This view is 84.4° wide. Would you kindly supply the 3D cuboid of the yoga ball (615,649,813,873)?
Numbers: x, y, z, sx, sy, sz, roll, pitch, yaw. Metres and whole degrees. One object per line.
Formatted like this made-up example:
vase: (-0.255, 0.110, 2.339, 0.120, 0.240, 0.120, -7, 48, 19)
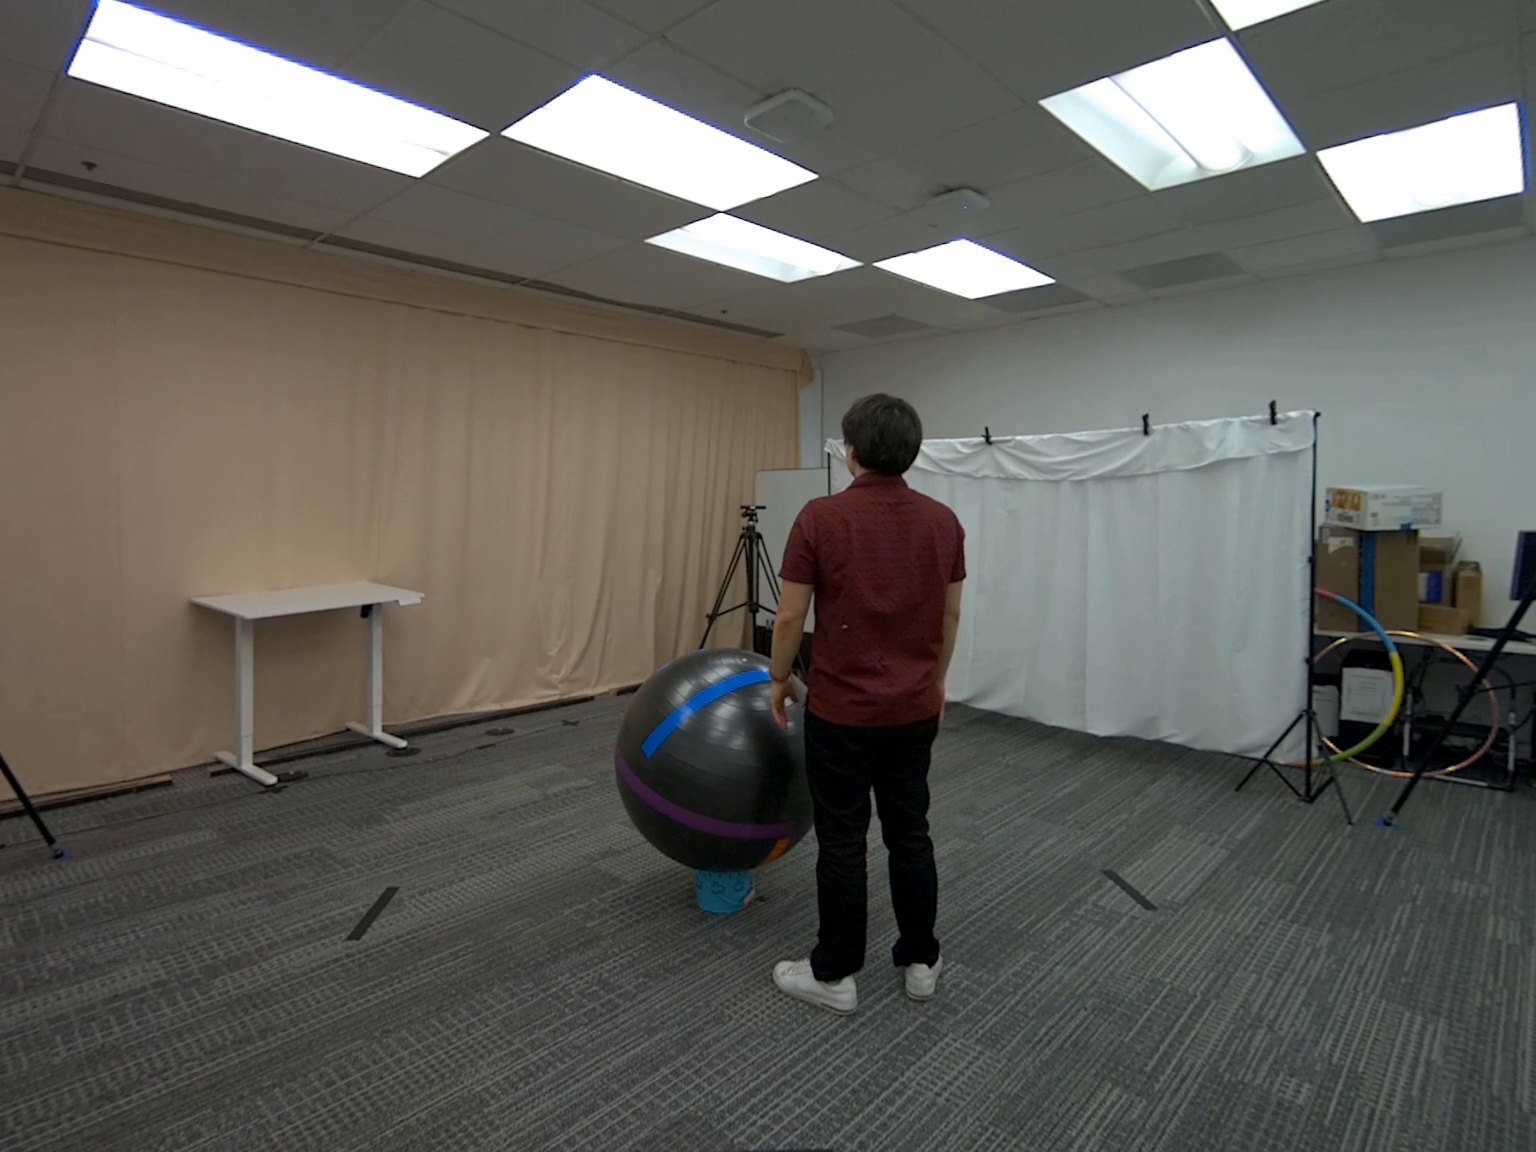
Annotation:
yoga ball: (-0.147, 0.631, 2.946, 0.757, 0.756, 0.760, 0, 4, -2)
